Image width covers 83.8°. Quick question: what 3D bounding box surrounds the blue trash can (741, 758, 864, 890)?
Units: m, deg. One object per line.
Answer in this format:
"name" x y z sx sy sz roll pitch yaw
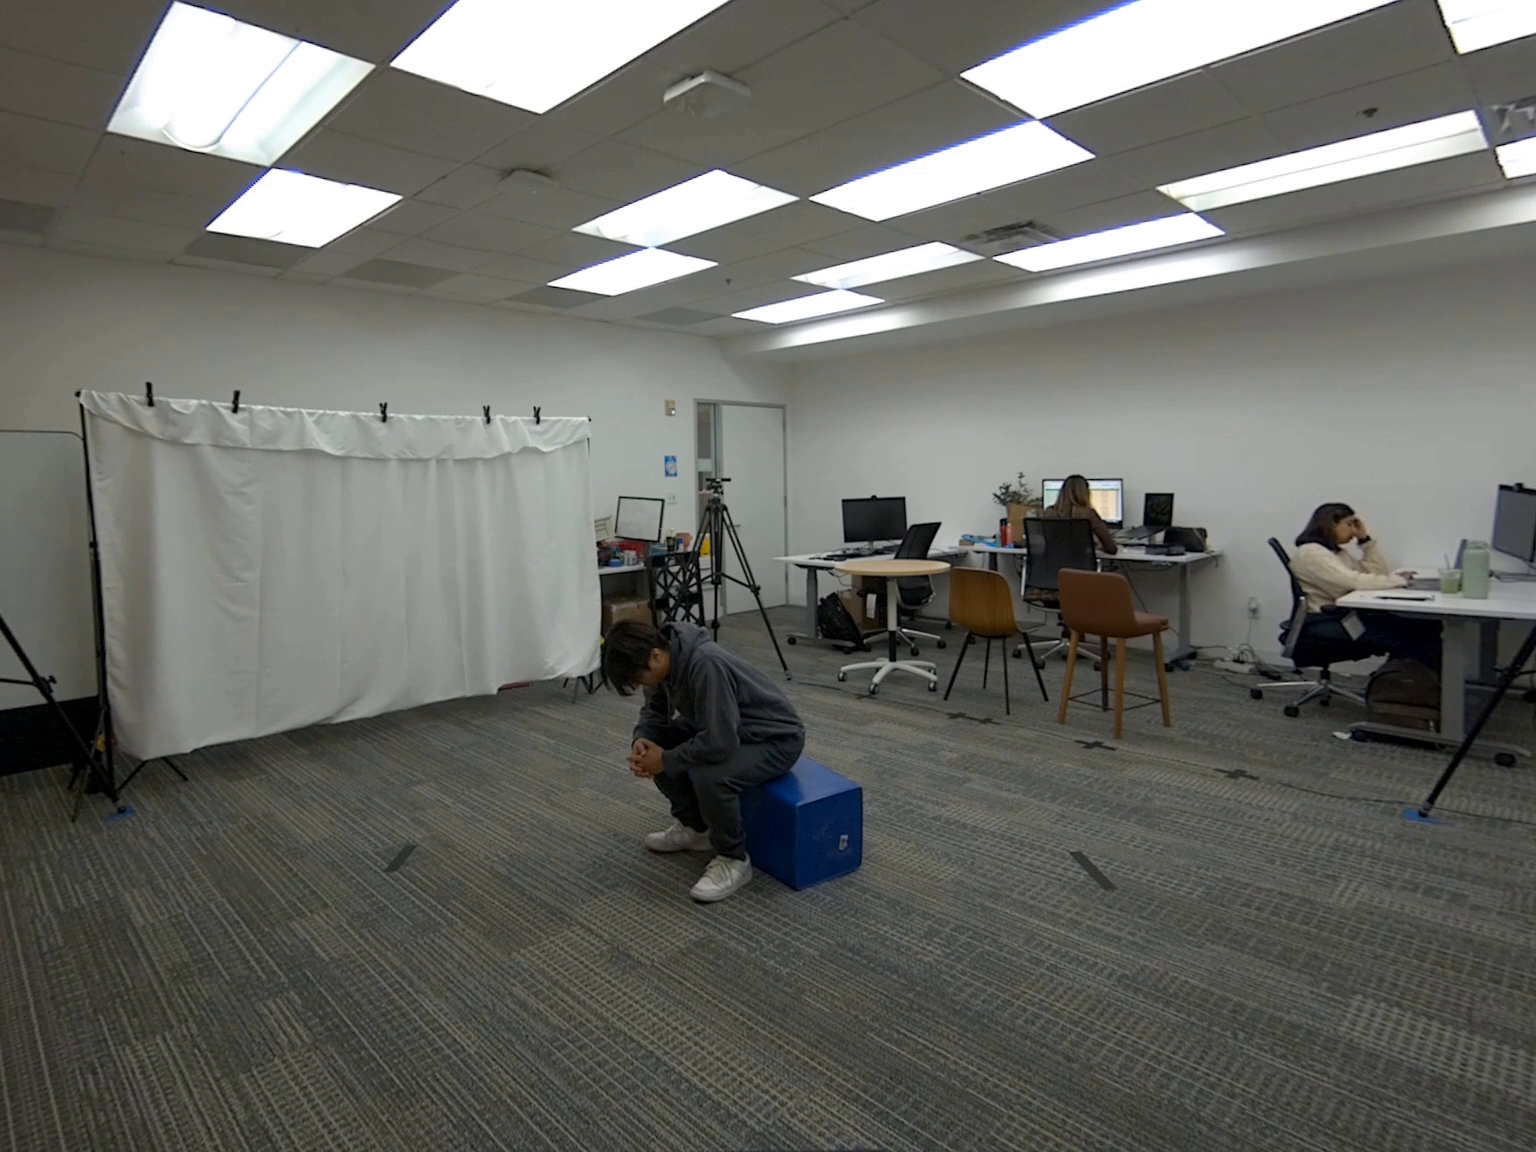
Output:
"blue trash can" 0.014 0.858 3.247 0.364 0.375 0.737 -4 10 -36
